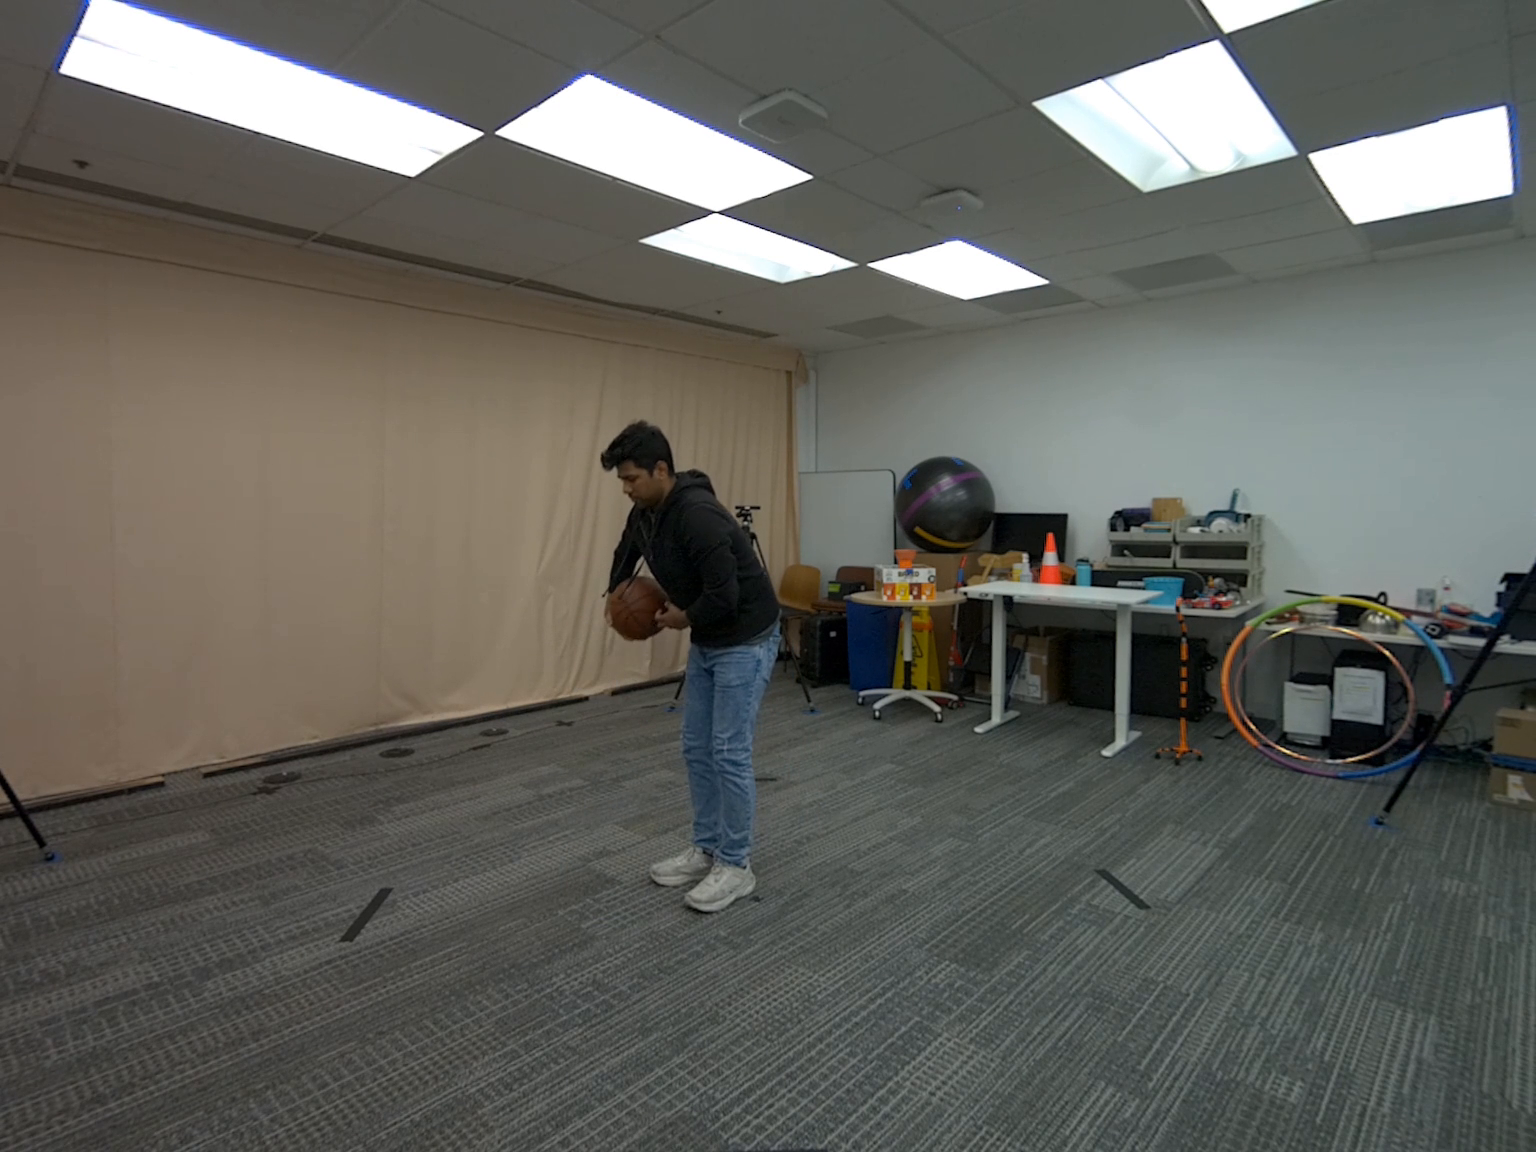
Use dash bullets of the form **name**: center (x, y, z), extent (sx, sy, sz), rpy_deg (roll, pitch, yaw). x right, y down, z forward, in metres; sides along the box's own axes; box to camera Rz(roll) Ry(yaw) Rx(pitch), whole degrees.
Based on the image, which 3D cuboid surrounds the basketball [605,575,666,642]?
- **basketball**: center (-0.488, 0.146, 3.217), extent (0.236, 0.235, 0.237), rpy_deg (0, 4, -2)
